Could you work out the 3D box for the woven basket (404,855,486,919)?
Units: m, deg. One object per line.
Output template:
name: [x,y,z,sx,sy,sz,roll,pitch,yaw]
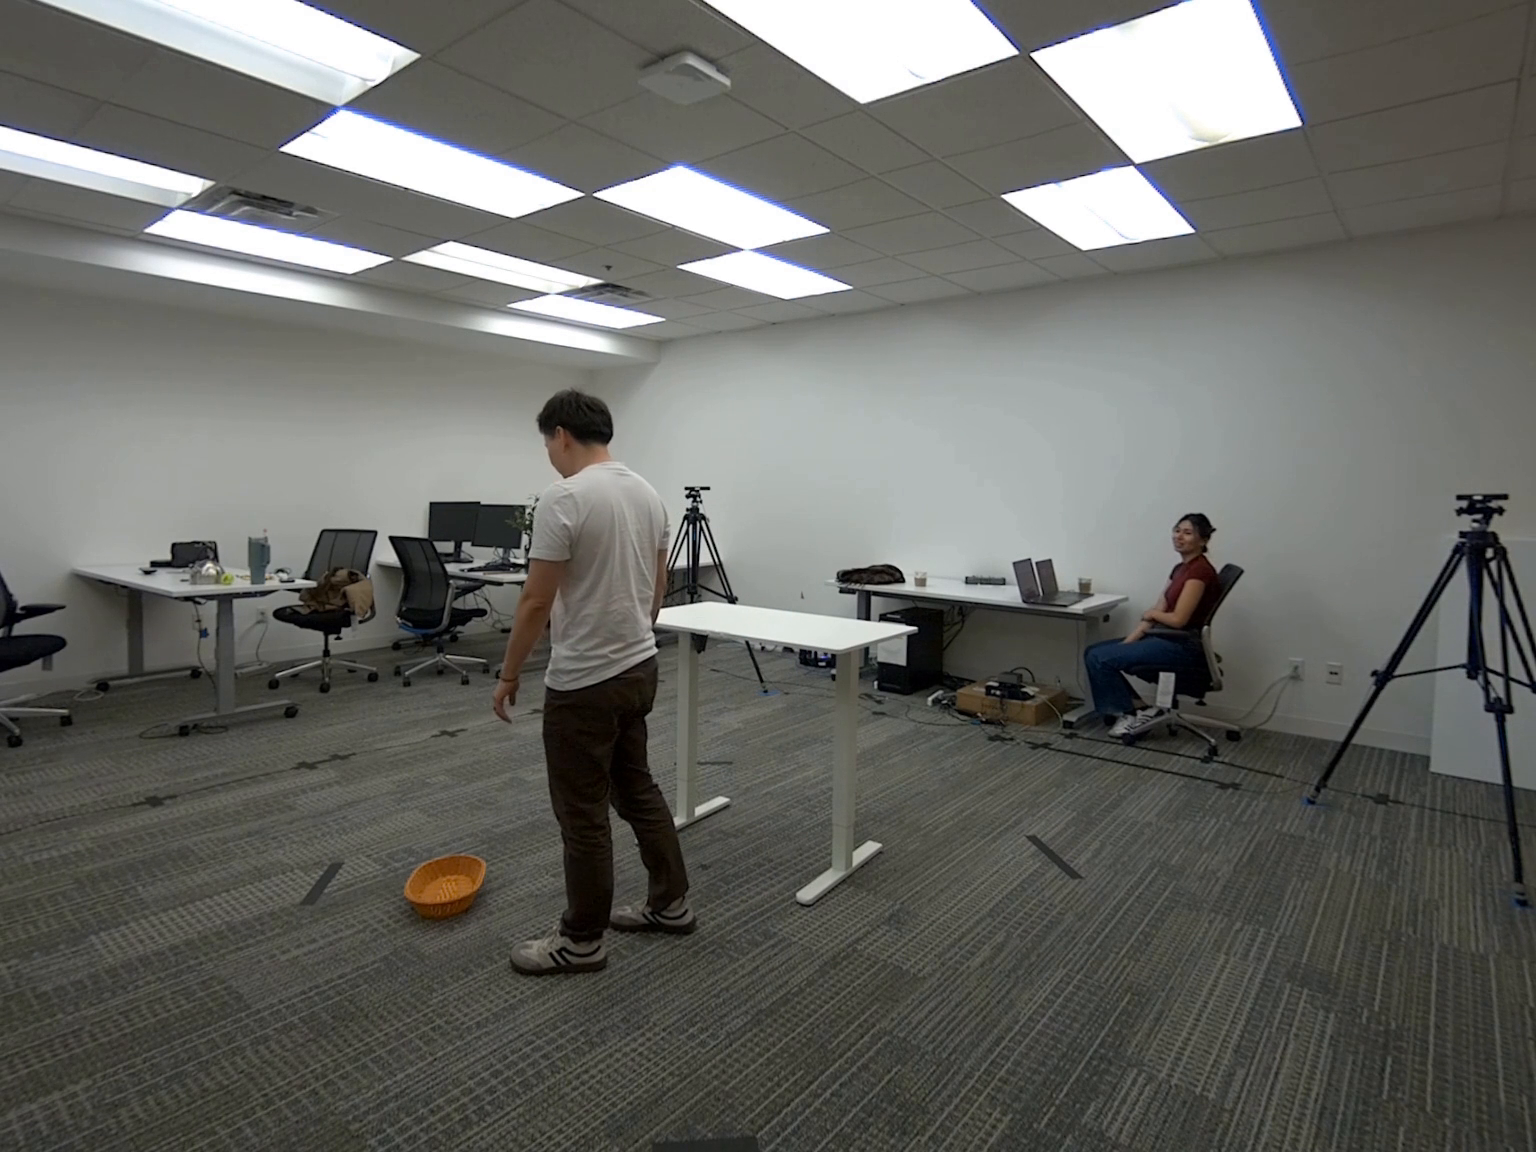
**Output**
woven basket: [-1.093,1.044,2.855,0.251,0.073,0.354,-1,6,-6]
